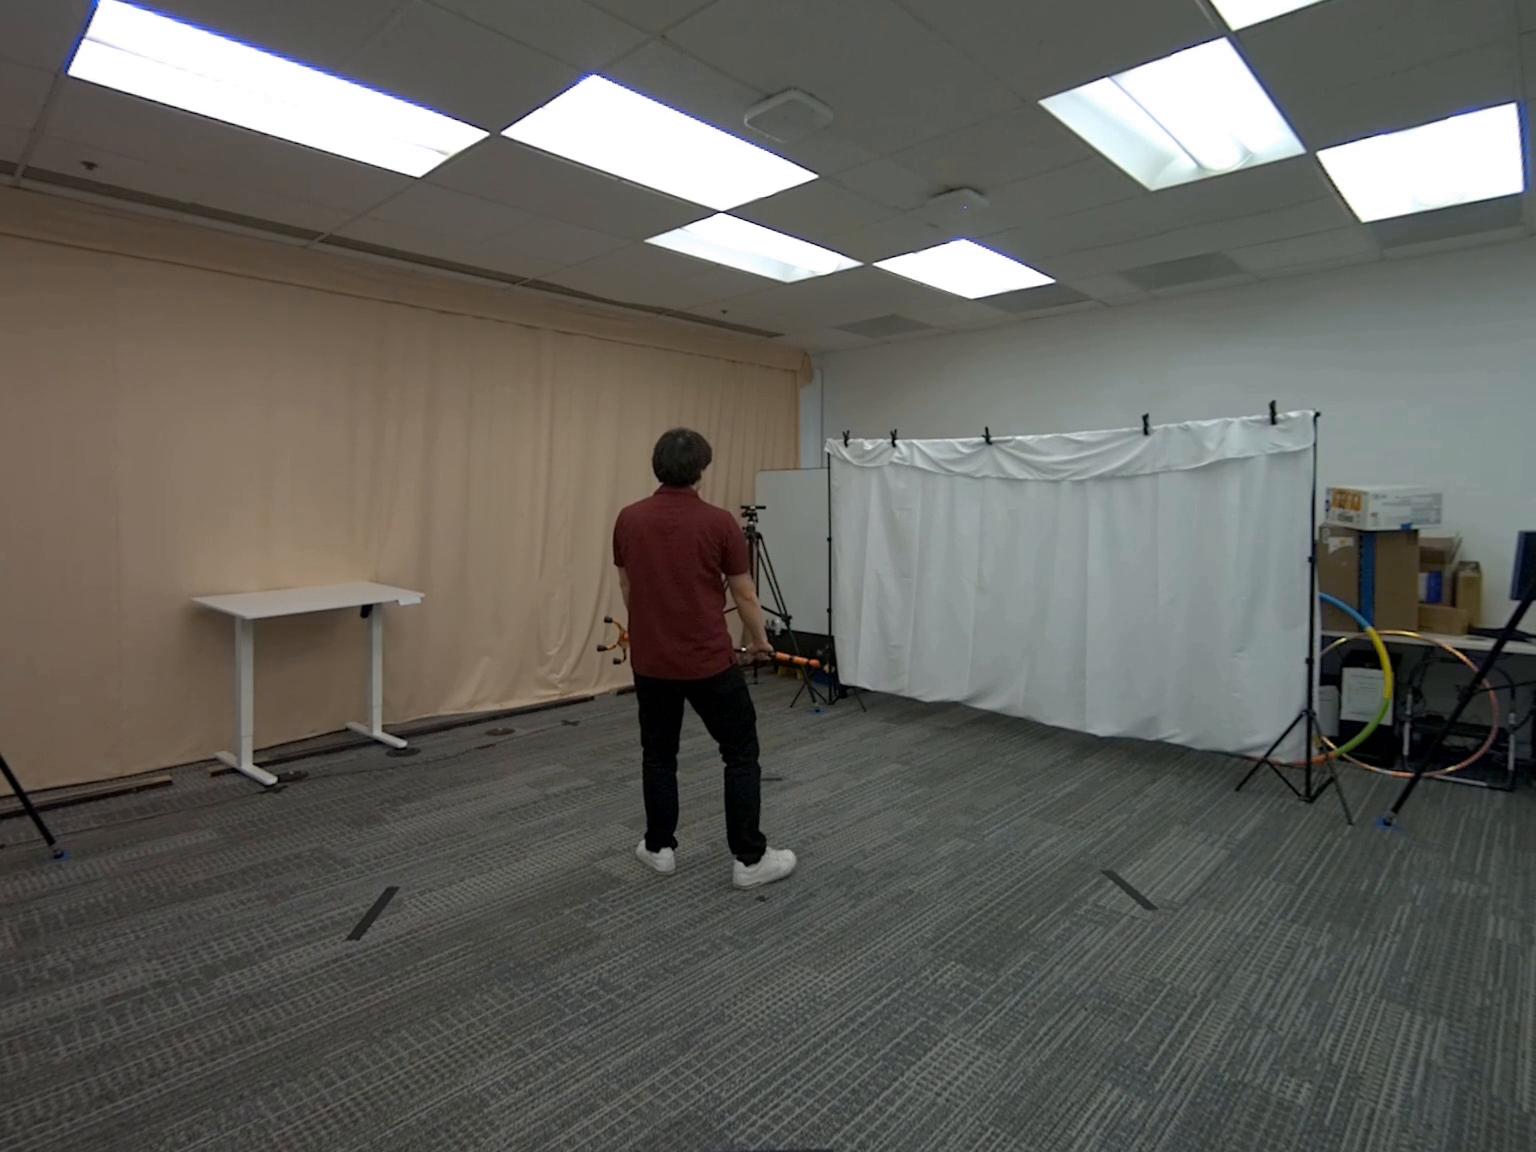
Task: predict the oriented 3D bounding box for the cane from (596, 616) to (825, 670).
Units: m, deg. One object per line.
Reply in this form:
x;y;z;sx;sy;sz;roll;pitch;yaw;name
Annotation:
-0.206;0.303;3.362;0.925;0.153;0.201;4;-26;17;cane
